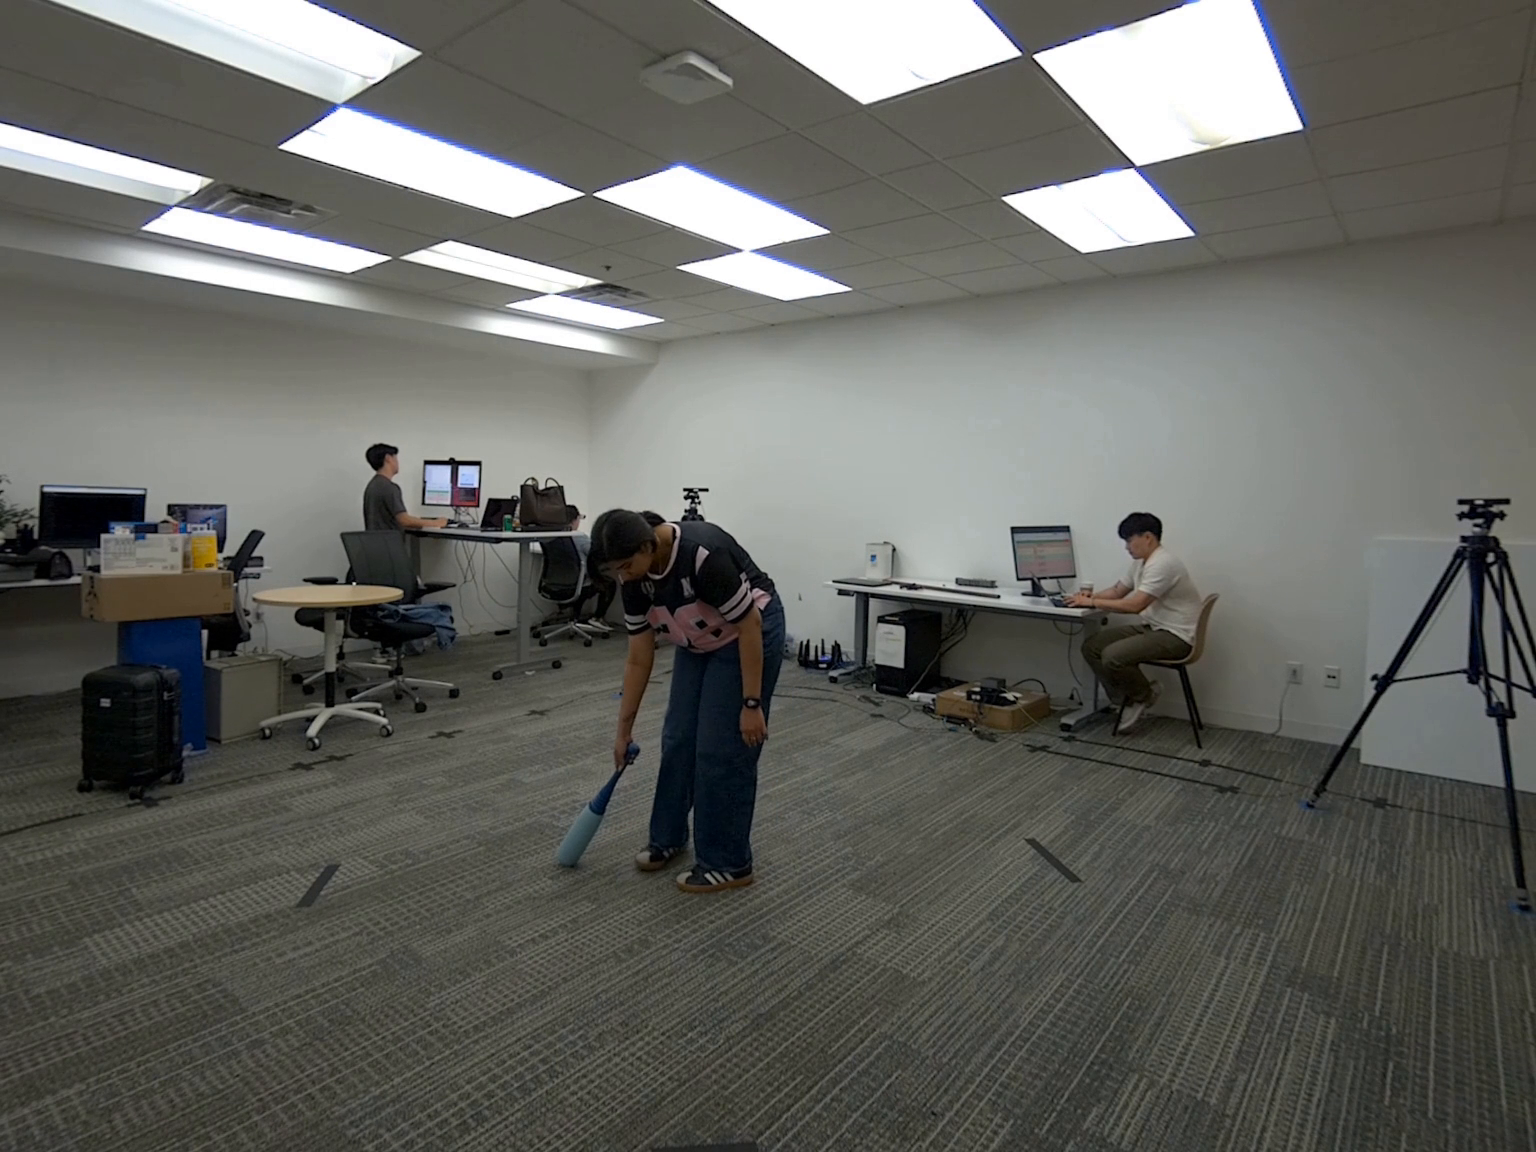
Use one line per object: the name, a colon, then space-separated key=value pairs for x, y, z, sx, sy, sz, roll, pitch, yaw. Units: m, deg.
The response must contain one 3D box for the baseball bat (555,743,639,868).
baseball bat: x=-0.620 y=0.826 z=3.074 sx=0.088 sy=0.541 sz=0.090 roll=30 pitch=13 yaw=-10
